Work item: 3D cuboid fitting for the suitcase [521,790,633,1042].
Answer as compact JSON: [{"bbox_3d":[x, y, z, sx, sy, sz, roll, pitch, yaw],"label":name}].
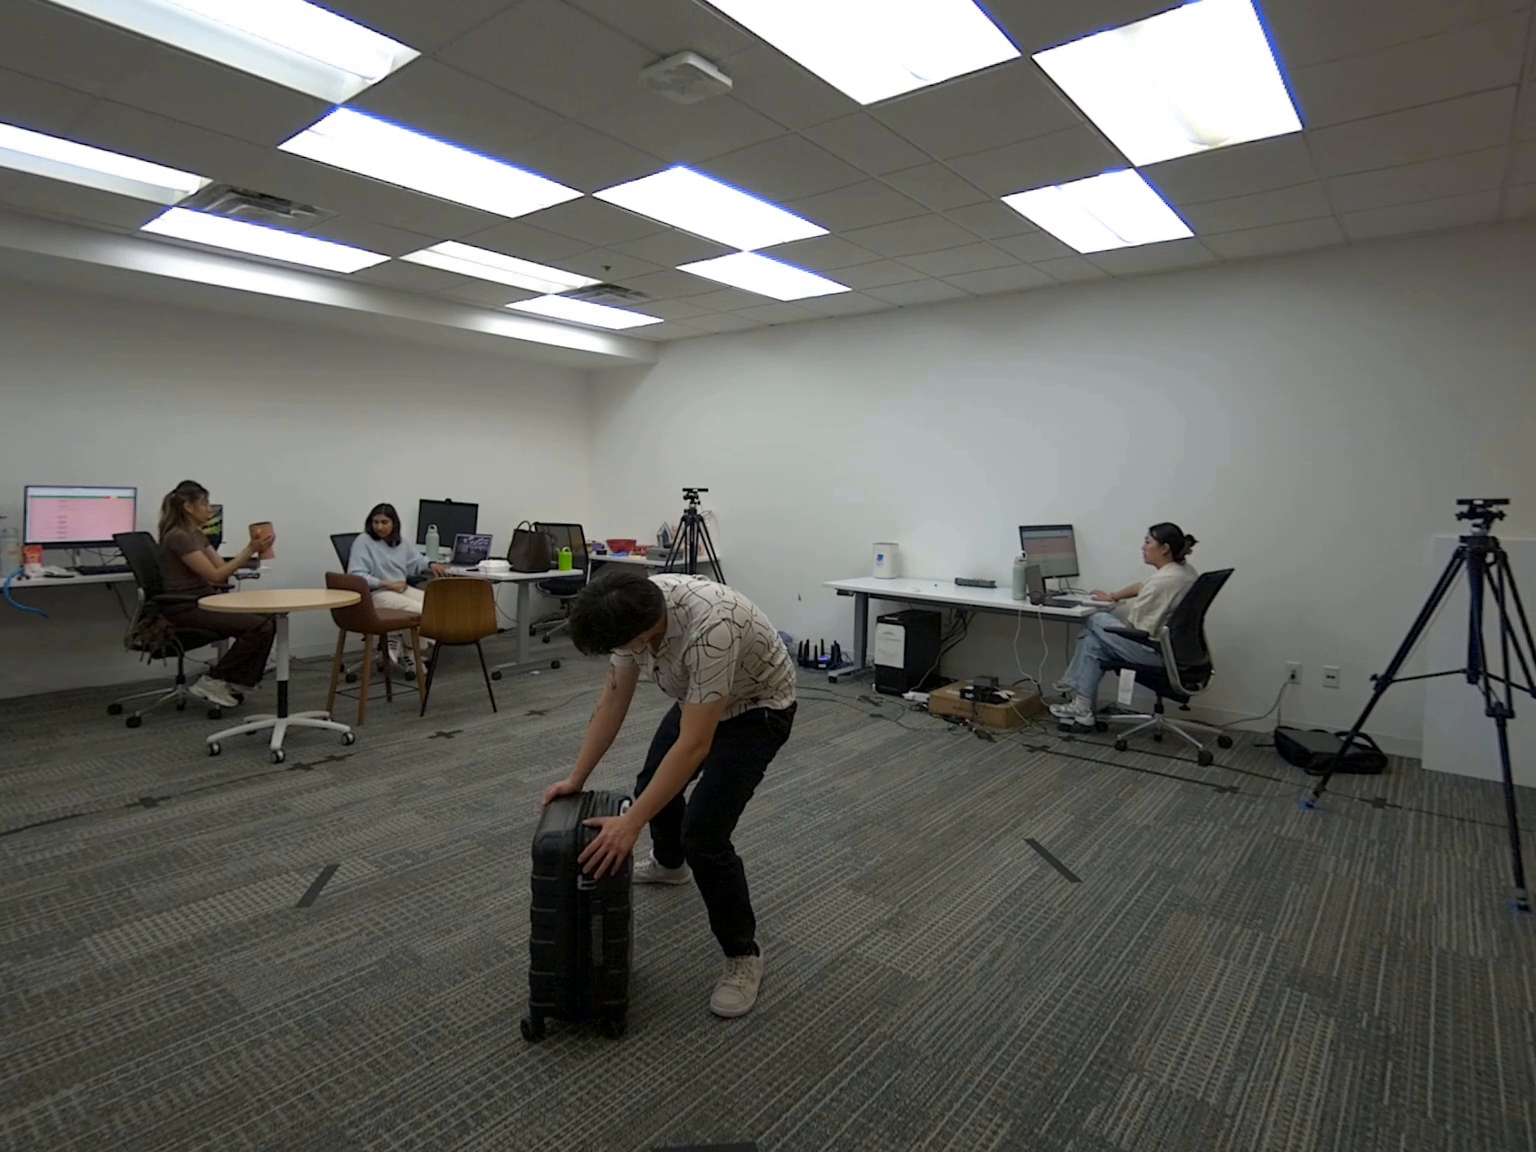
[{"bbox_3d":[-0.502,0.876,2.264,0.247,0.547,0.378,1,4,-4],"label":"suitcase"}]
